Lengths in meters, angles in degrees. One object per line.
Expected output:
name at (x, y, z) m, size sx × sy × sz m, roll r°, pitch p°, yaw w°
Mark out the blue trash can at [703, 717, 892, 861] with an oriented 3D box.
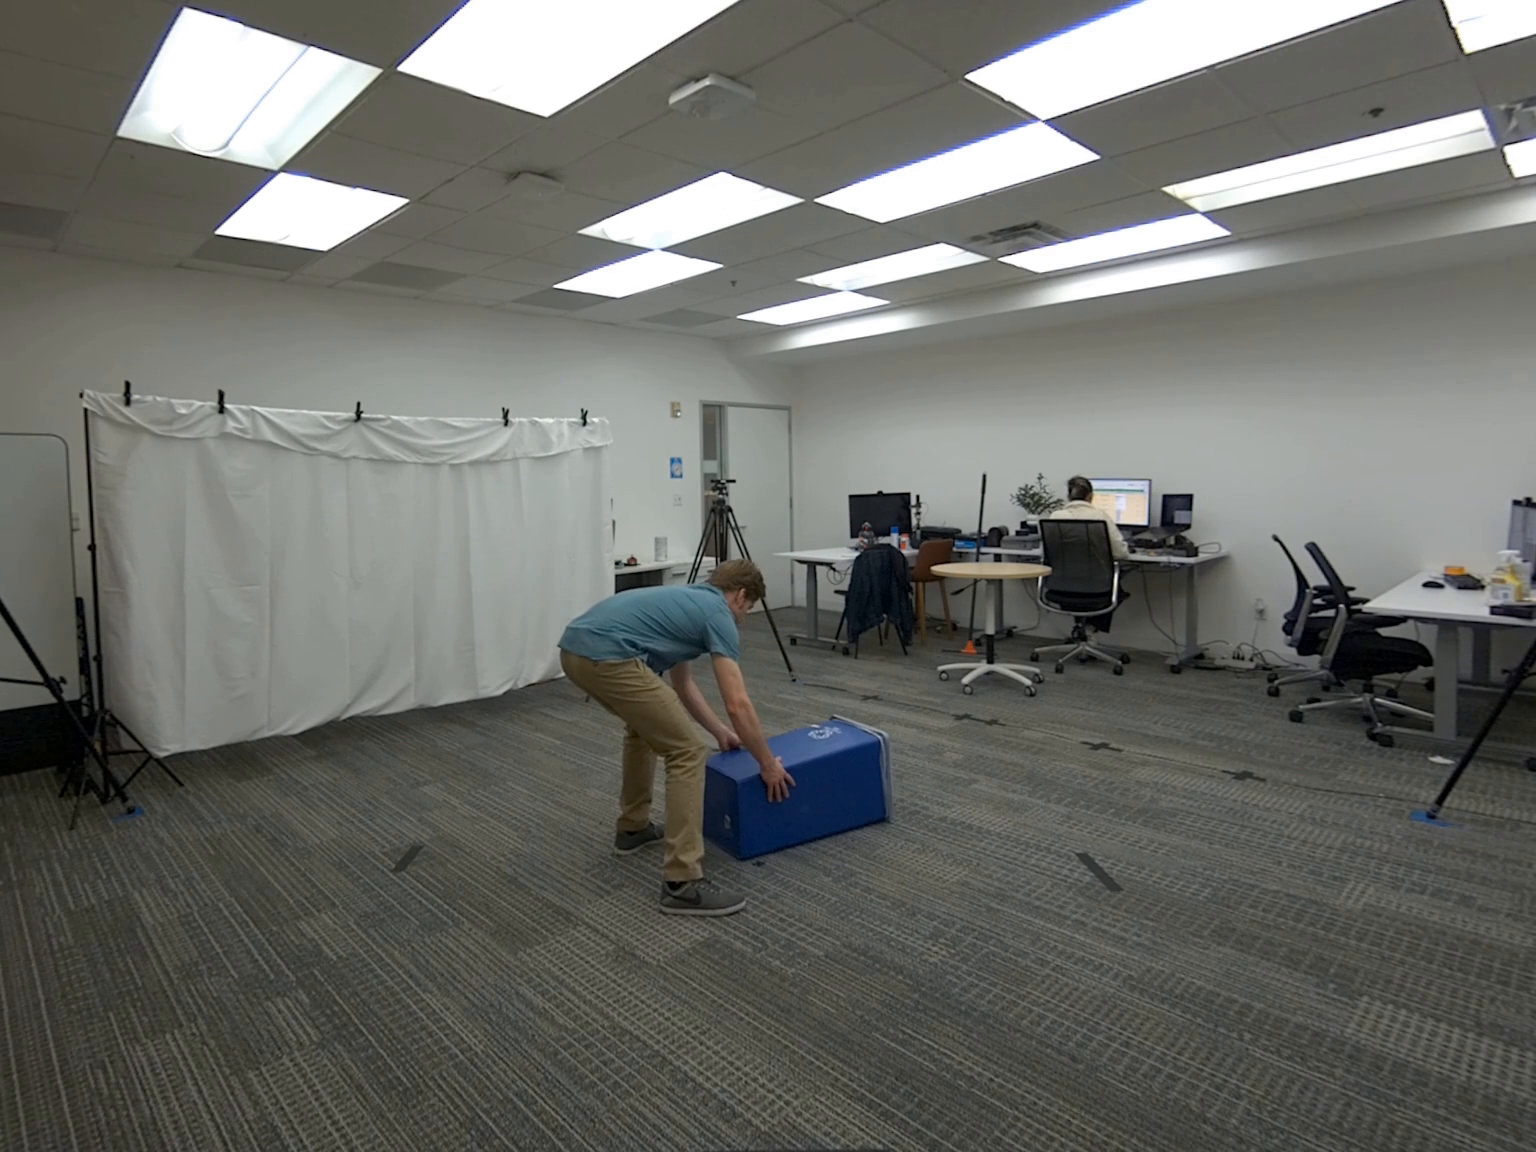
blue trash can at (0.109, 0.845, 3.410) m, size 0.697 × 0.376 × 0.384 m, roll -8°, pitch 7°, yaw -33°
